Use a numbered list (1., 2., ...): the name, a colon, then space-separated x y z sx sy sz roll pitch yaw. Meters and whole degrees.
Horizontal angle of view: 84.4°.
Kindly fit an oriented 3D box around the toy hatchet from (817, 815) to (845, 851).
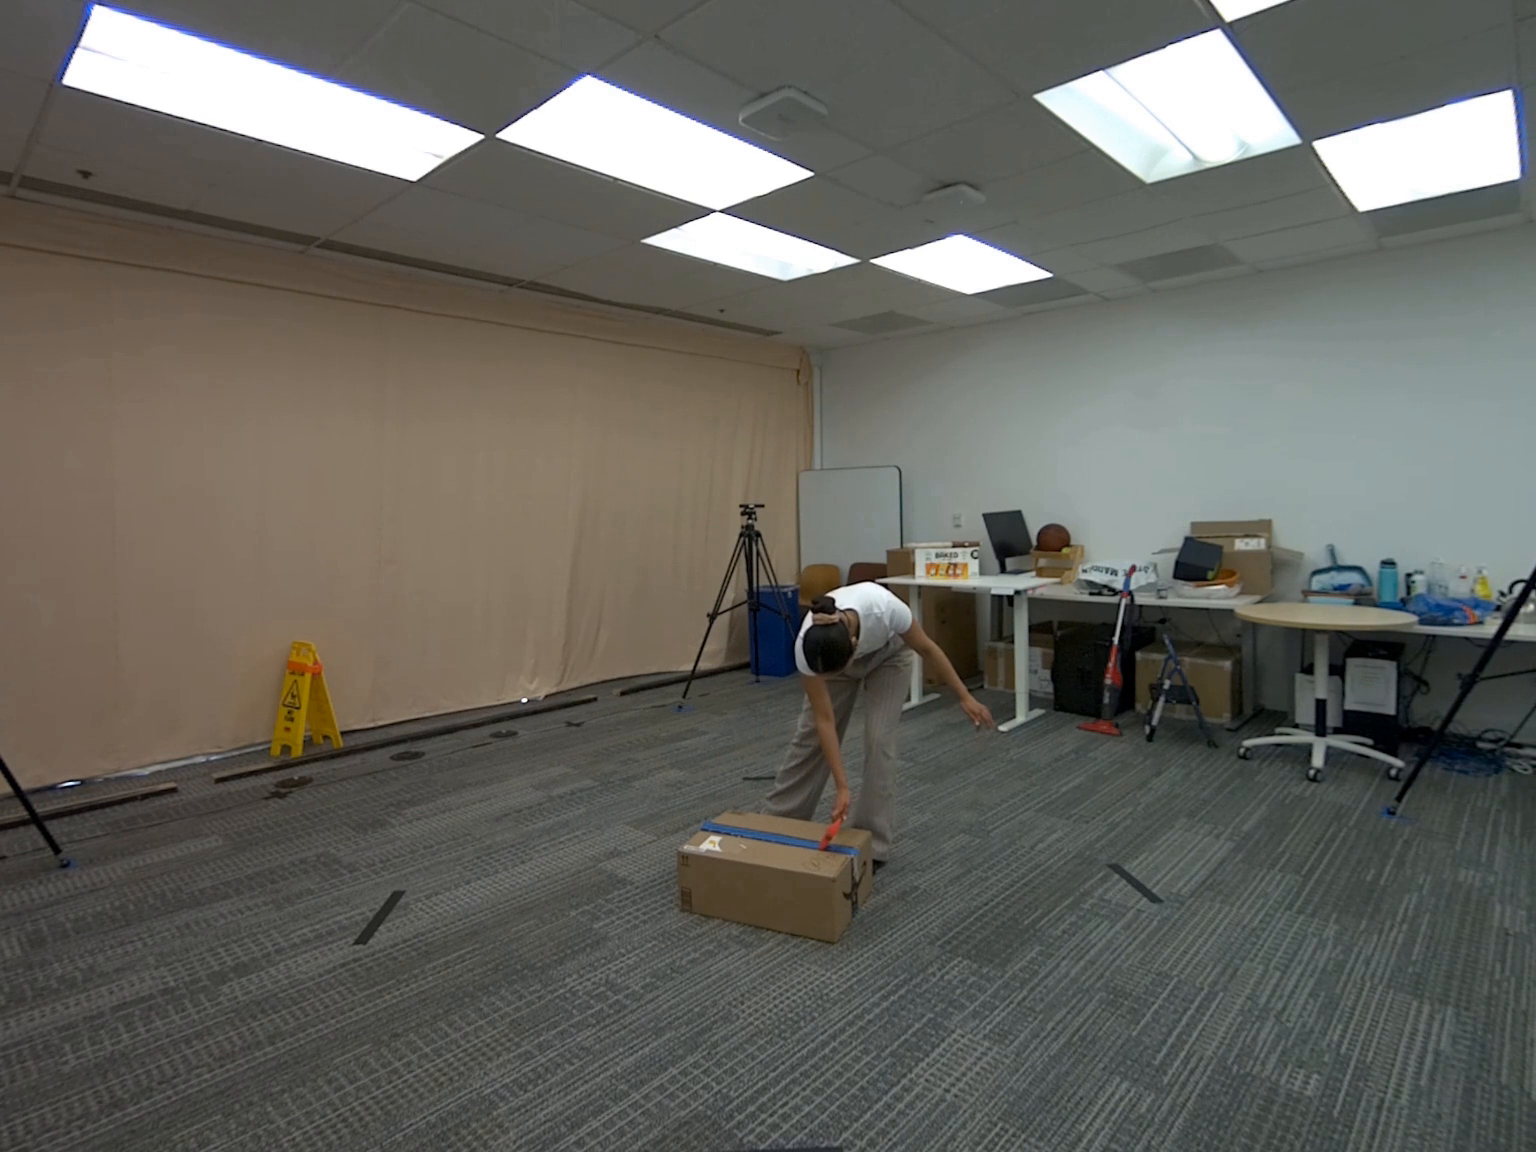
1. toy hatchet: 0.220 0.878 2.939 0.030 0.131 0.265 33 0 11
